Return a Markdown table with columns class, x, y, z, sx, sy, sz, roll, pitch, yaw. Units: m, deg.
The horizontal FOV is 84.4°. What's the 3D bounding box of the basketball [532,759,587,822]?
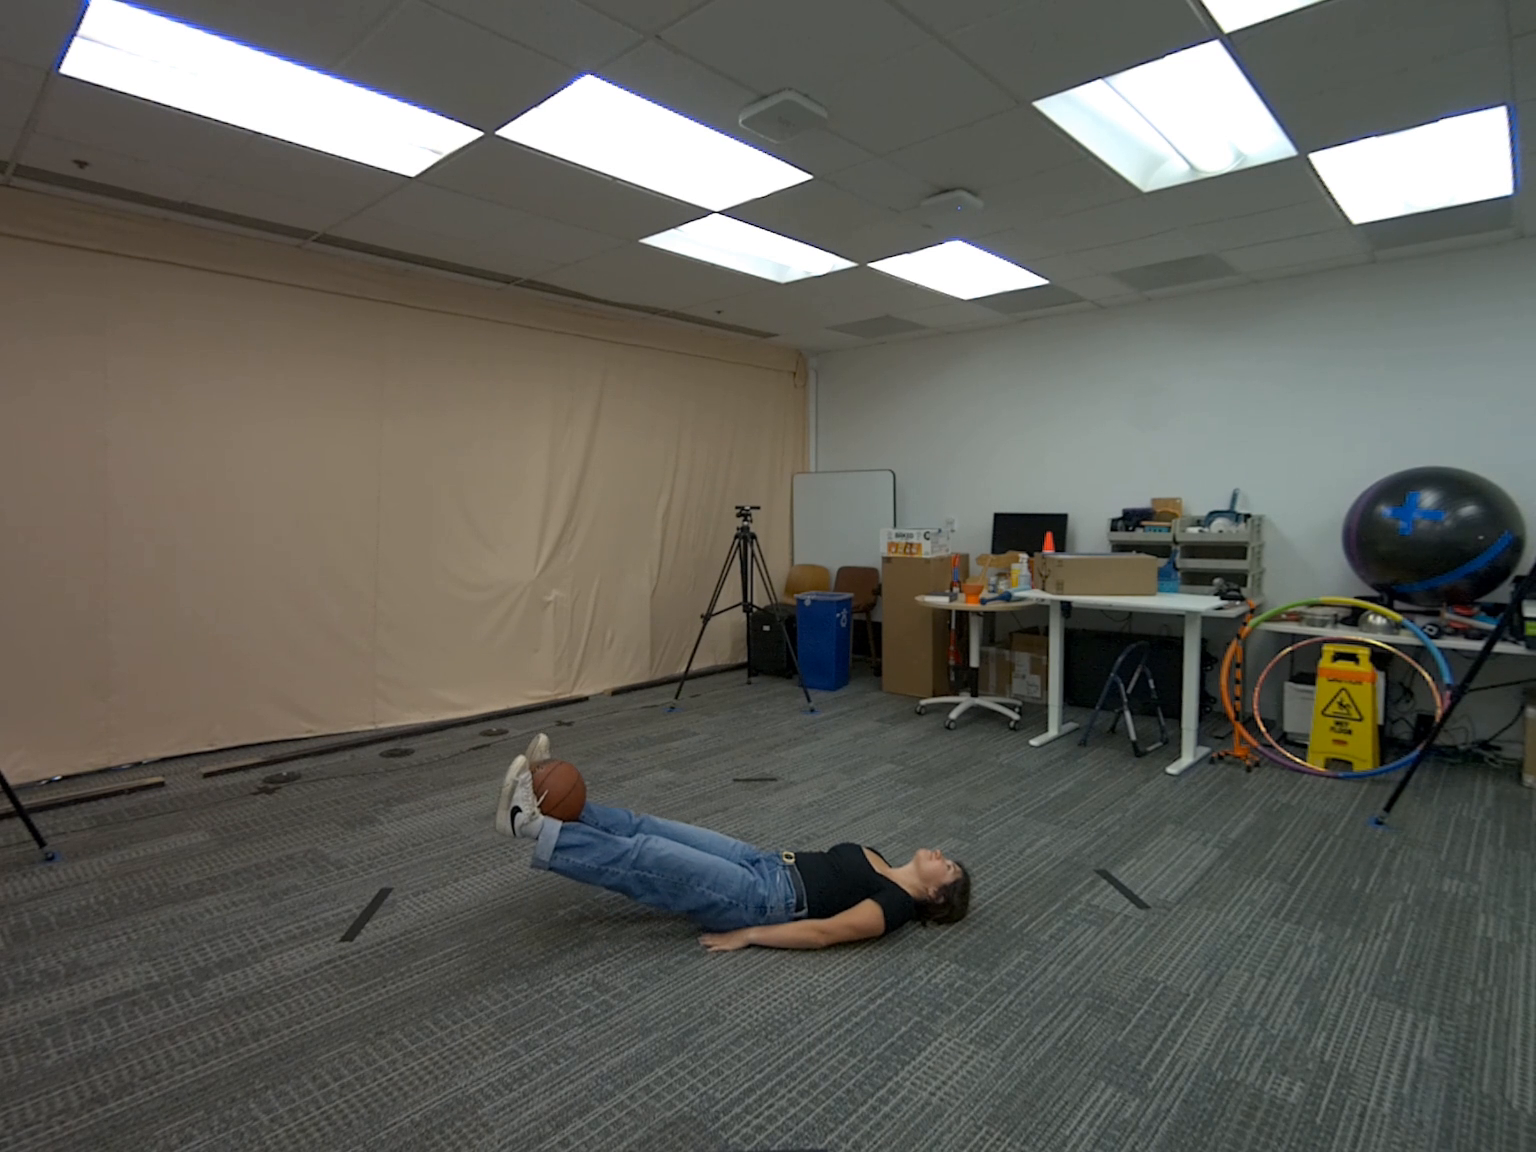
| class | x | y | z | sx | sy | sz | roll | pitch | yaw |
| --- | --- | --- | --- | --- | --- | --- | --- | --- | --- |
| basketball | -0.717 | 0.727 | 2.787 | 0.236 | 0.235 | 0.237 | 0 | 4 | -2 |
